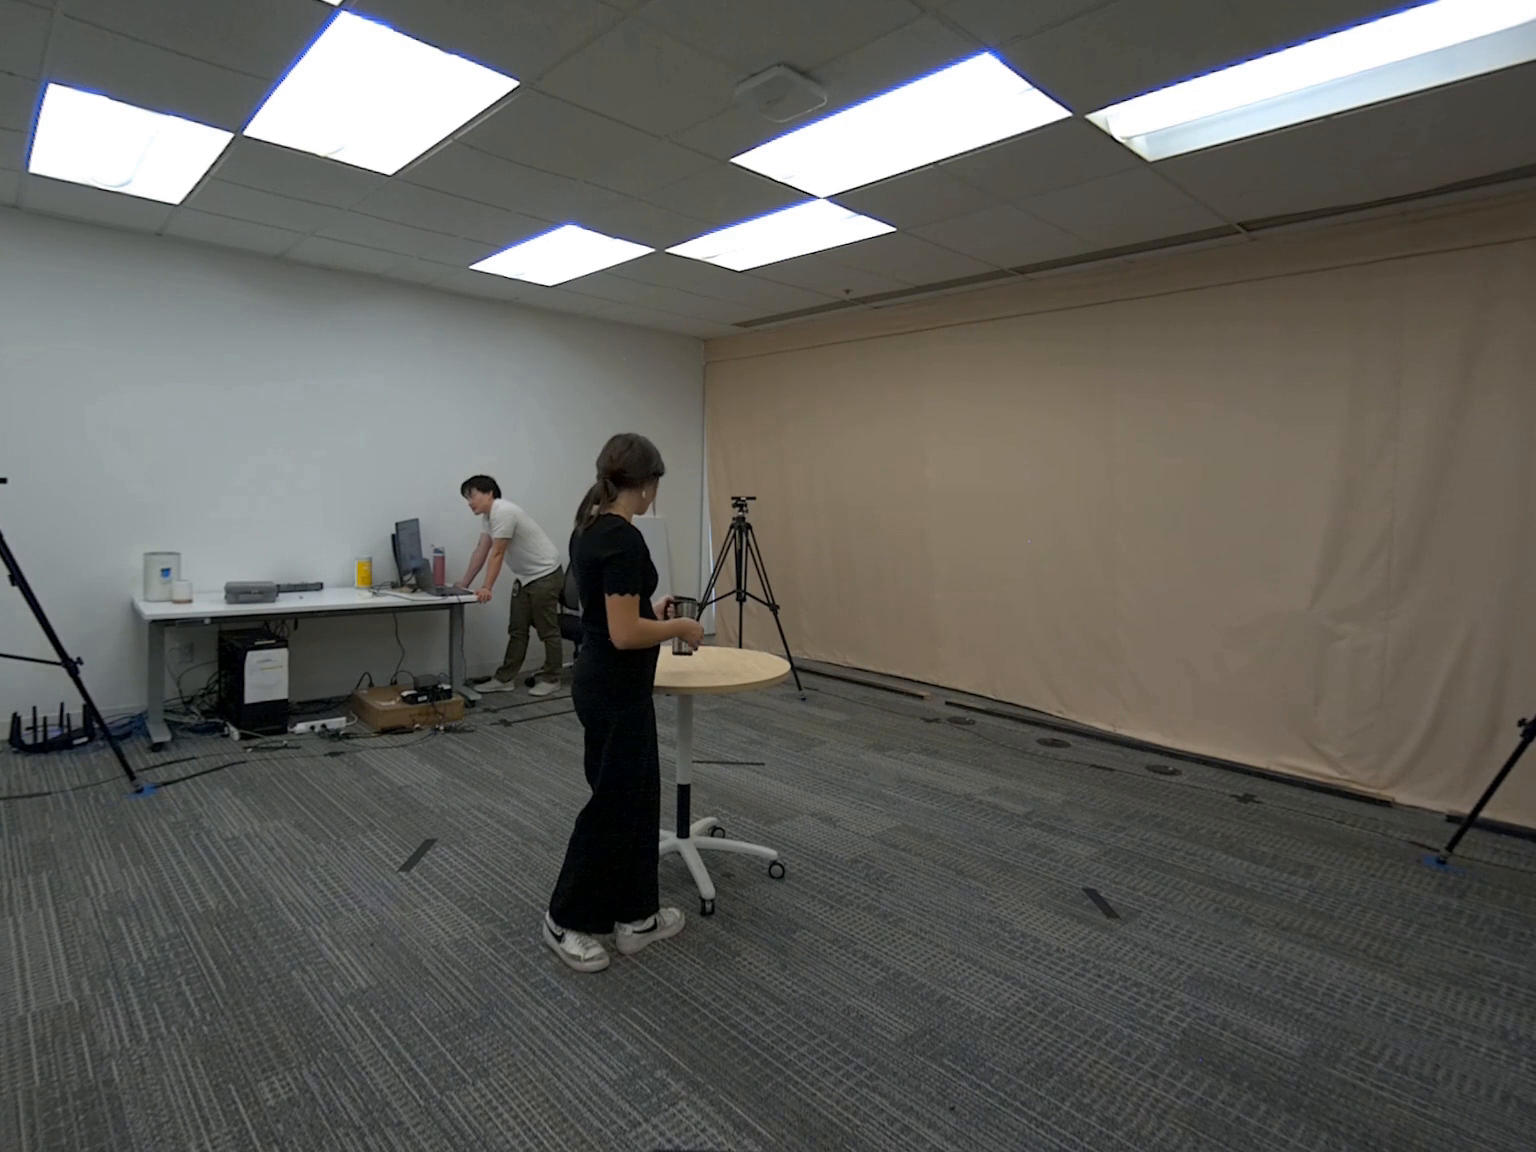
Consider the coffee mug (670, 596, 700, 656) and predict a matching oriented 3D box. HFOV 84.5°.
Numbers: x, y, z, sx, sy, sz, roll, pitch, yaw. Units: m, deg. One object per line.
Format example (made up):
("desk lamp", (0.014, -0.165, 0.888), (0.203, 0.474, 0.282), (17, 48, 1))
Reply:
("coffee mug", (-0.321, 0.177, 2.905), (0.119, 0.203, 0.090), (8, -3, -30))
